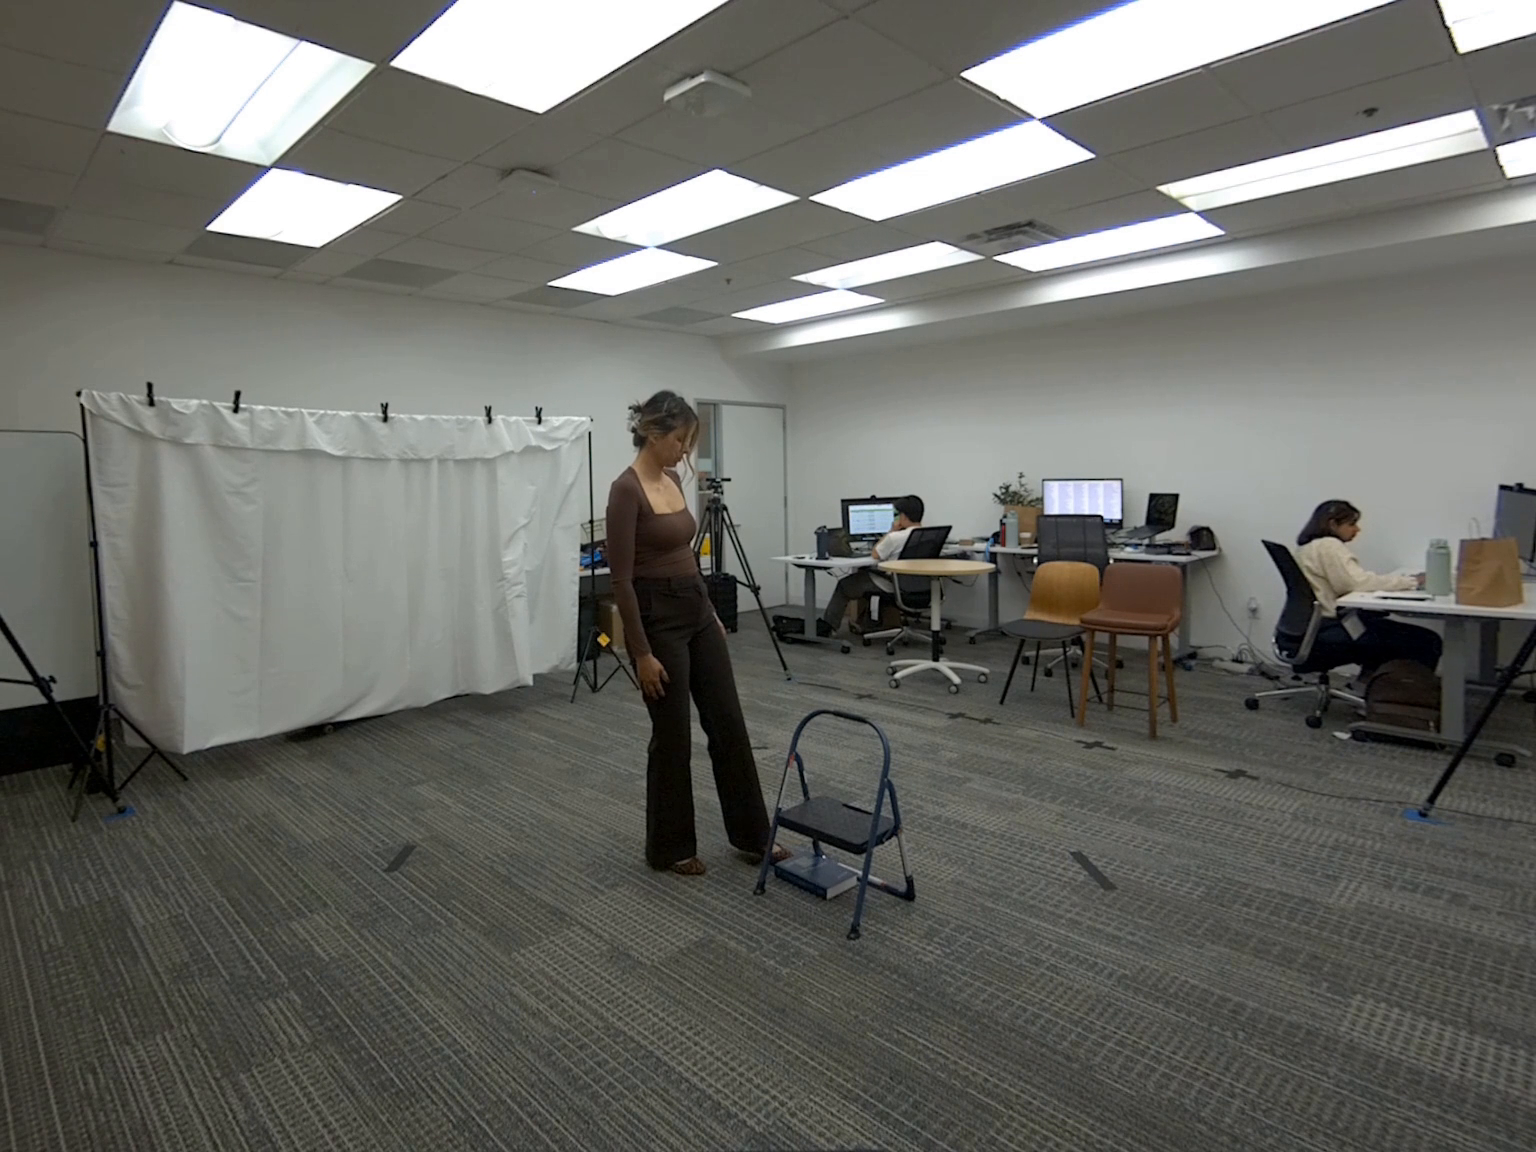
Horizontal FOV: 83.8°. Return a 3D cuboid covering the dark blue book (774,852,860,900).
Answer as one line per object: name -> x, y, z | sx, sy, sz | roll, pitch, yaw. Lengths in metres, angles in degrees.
dark blue book -> 0.164, 1.030, 2.953 | 0.159, 0.045, 0.253 | -6, 9, -43
